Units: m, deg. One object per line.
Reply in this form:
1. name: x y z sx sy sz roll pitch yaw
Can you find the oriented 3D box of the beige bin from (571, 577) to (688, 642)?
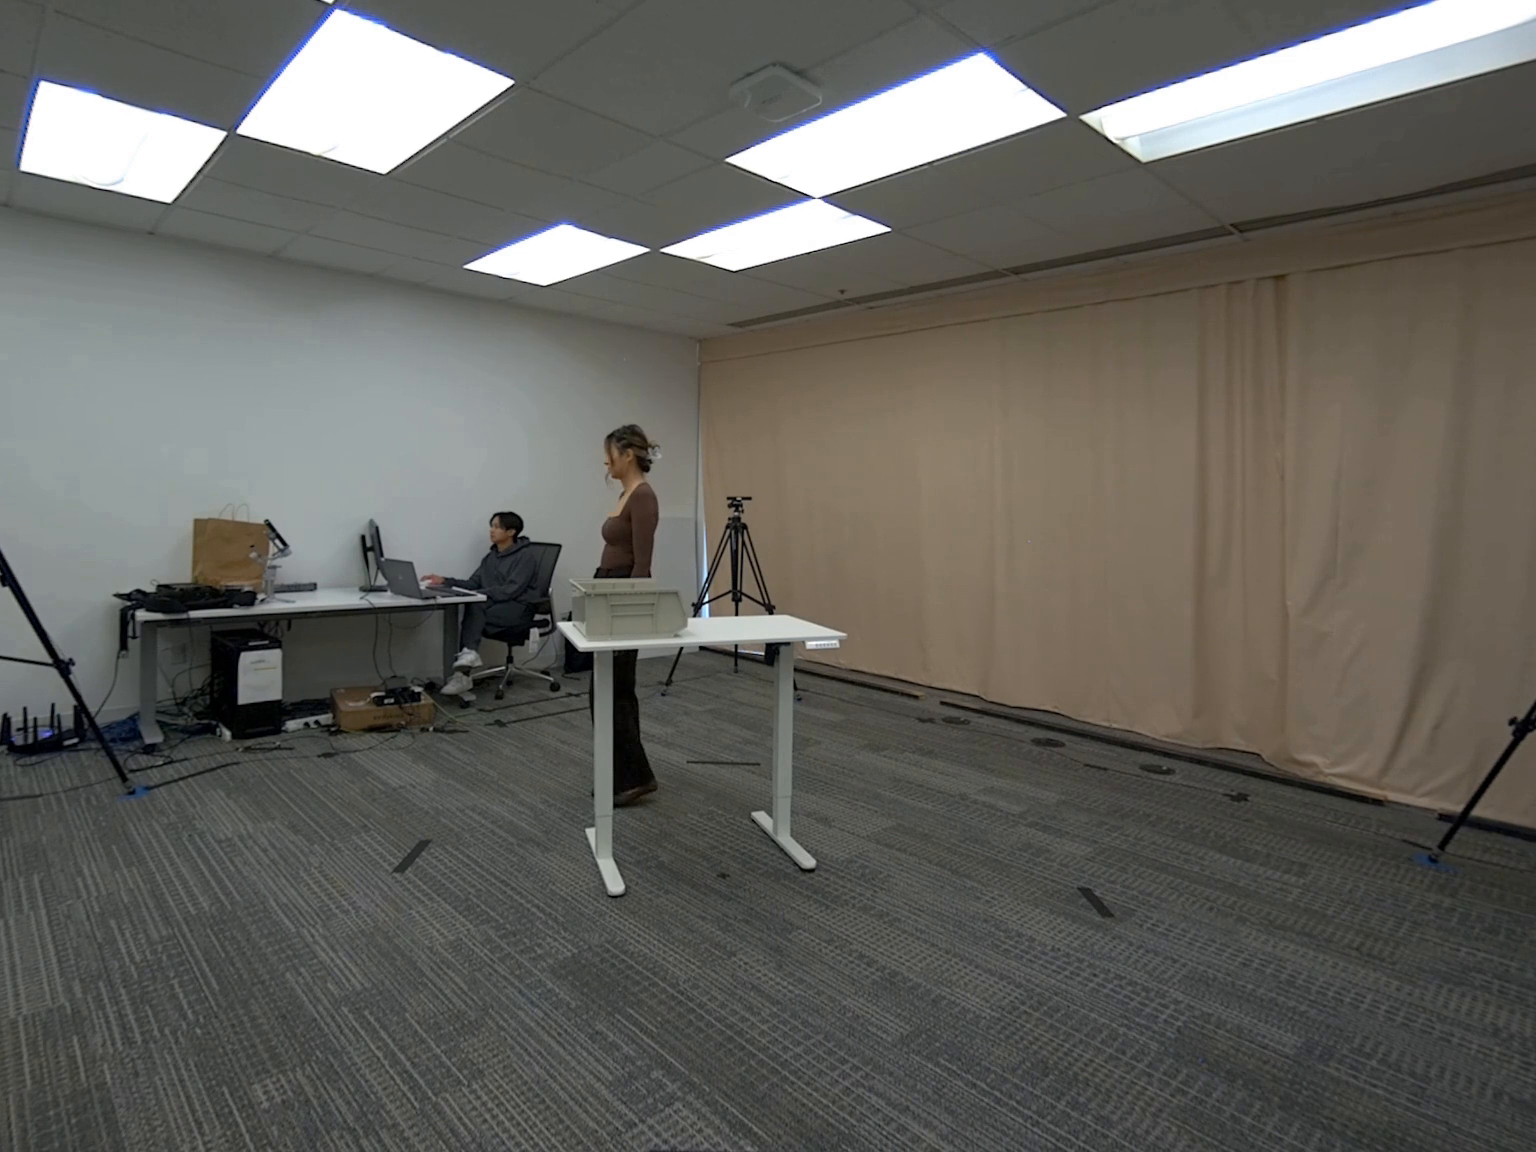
1. beige bin: -0.541 0.121 3.180 0.372 0.188 0.430 -2 6 -20
